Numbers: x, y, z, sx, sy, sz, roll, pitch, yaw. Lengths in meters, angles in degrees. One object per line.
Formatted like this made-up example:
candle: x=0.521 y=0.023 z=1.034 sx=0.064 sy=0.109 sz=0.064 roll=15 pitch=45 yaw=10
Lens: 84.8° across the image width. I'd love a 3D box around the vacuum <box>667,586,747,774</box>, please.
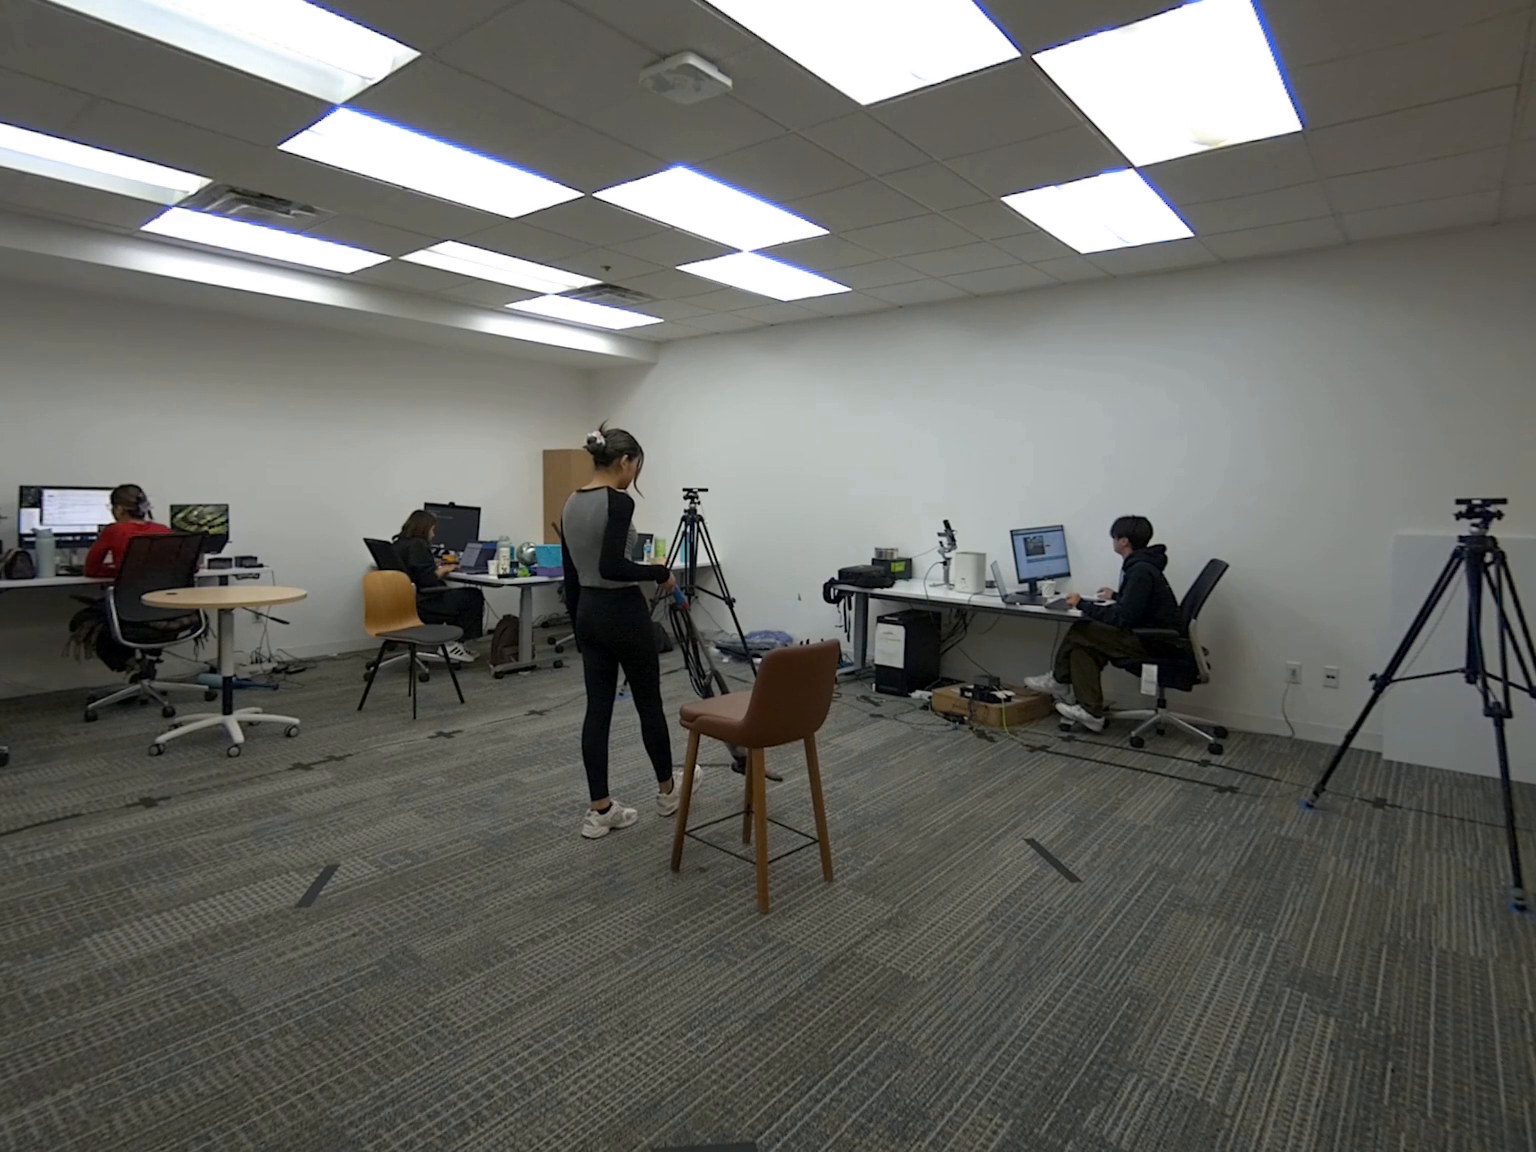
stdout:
vacuum: x=-0.254 y=0.446 z=3.565 sx=0.261 sy=1.021 sz=0.143 roll=2 pitch=33 yaw=46
